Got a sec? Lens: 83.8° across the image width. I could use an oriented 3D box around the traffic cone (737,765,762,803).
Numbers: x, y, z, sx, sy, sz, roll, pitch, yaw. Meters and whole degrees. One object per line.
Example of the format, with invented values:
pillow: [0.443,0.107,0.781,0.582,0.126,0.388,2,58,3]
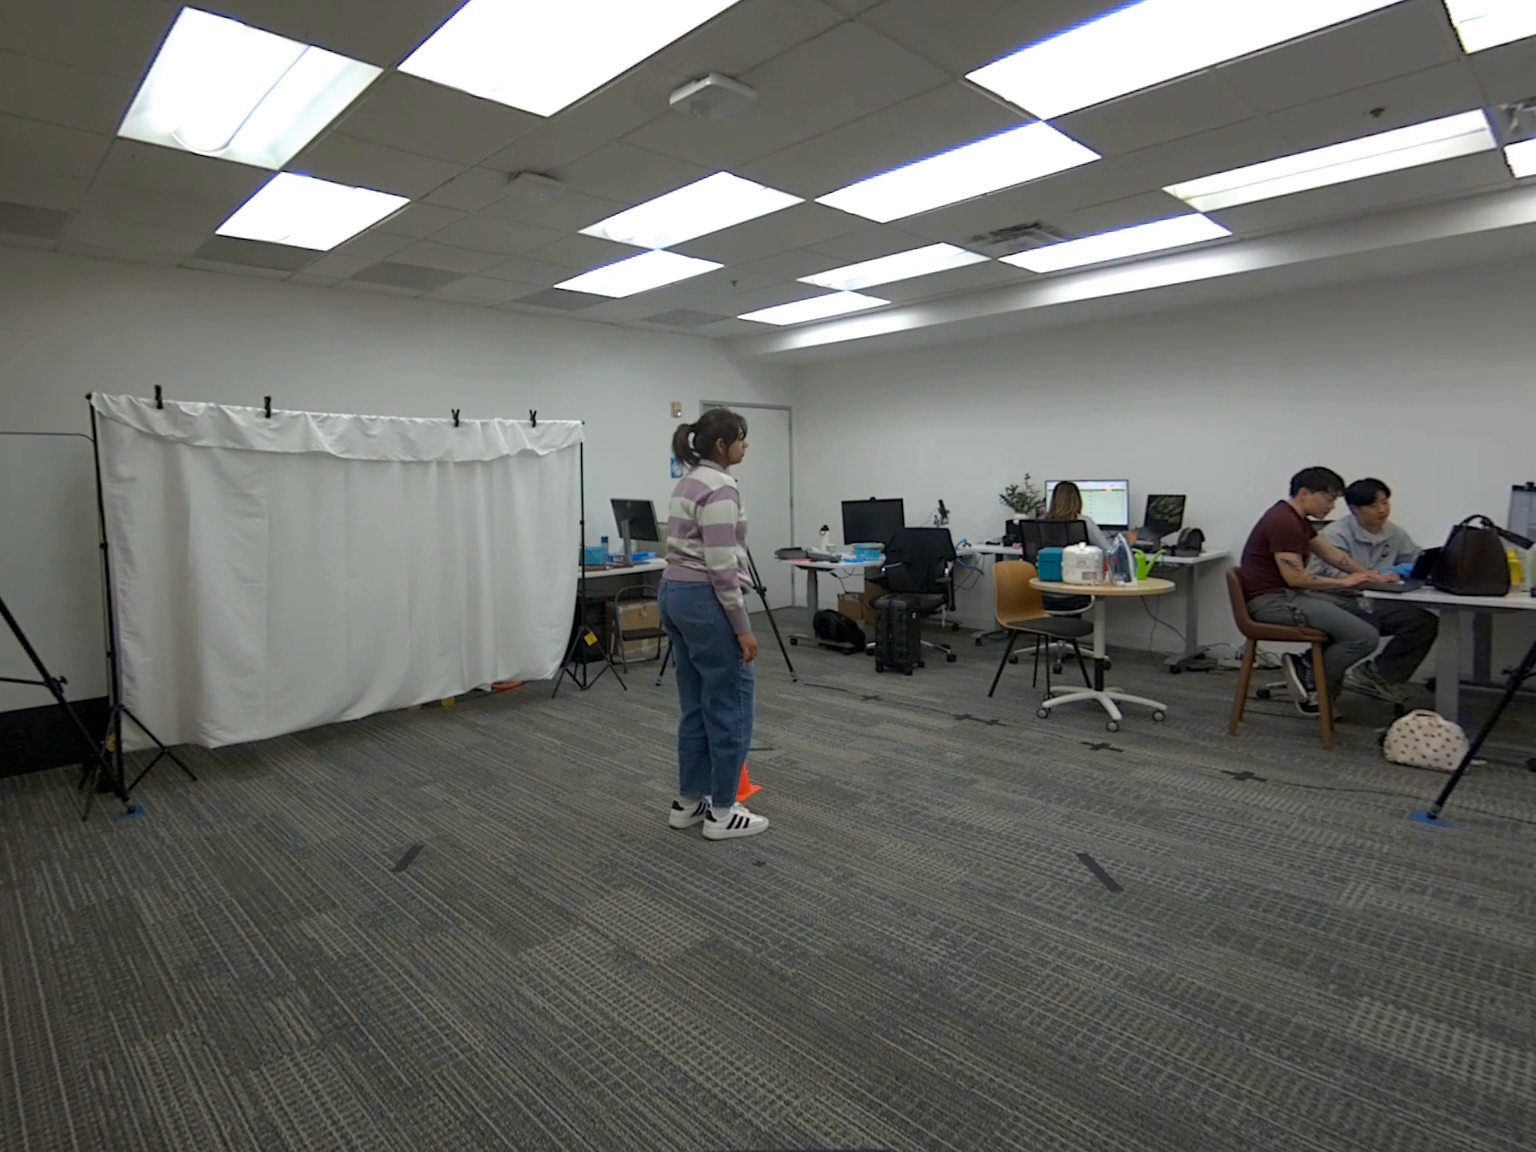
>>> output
traffic cone: [-0.164,0.786,3.842,0.209,0.382,0.200,0,4,35]
